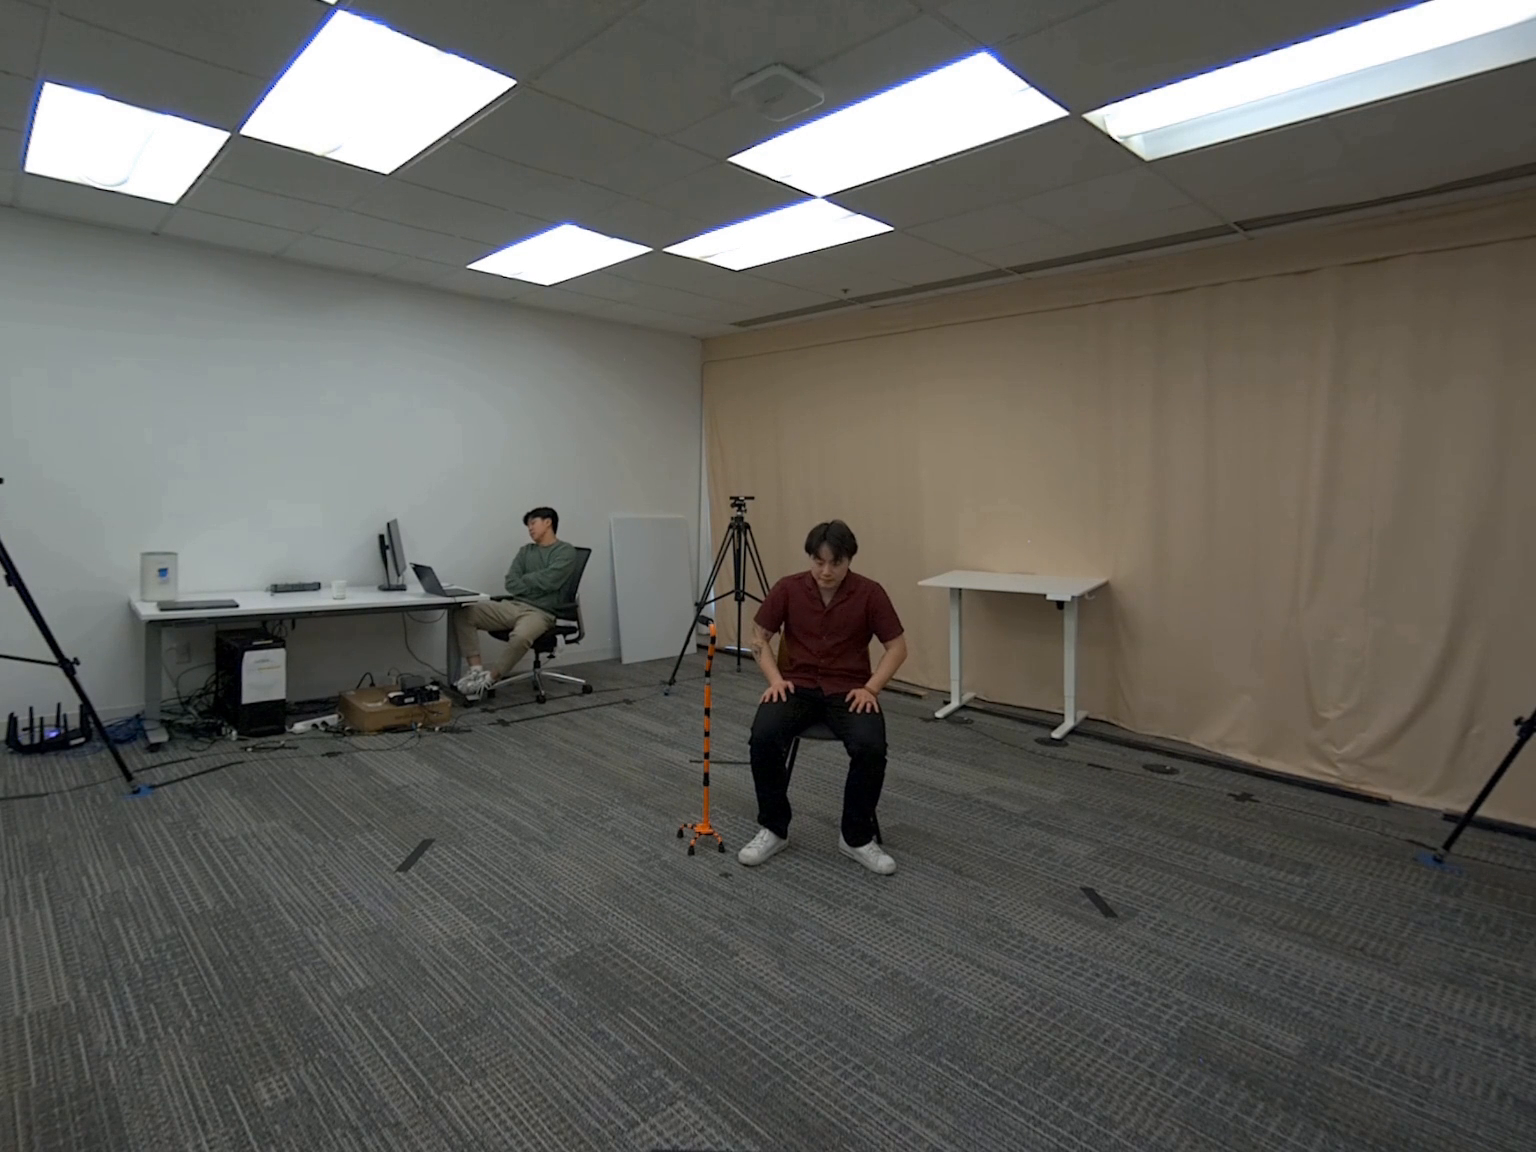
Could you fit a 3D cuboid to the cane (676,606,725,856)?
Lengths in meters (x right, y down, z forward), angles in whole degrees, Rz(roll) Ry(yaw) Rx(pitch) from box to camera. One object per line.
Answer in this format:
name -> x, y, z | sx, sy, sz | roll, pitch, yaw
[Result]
cane -> -0.262, 0.619, 3.359 | 0.149, 0.906, 0.210 | 1, 3, -22
